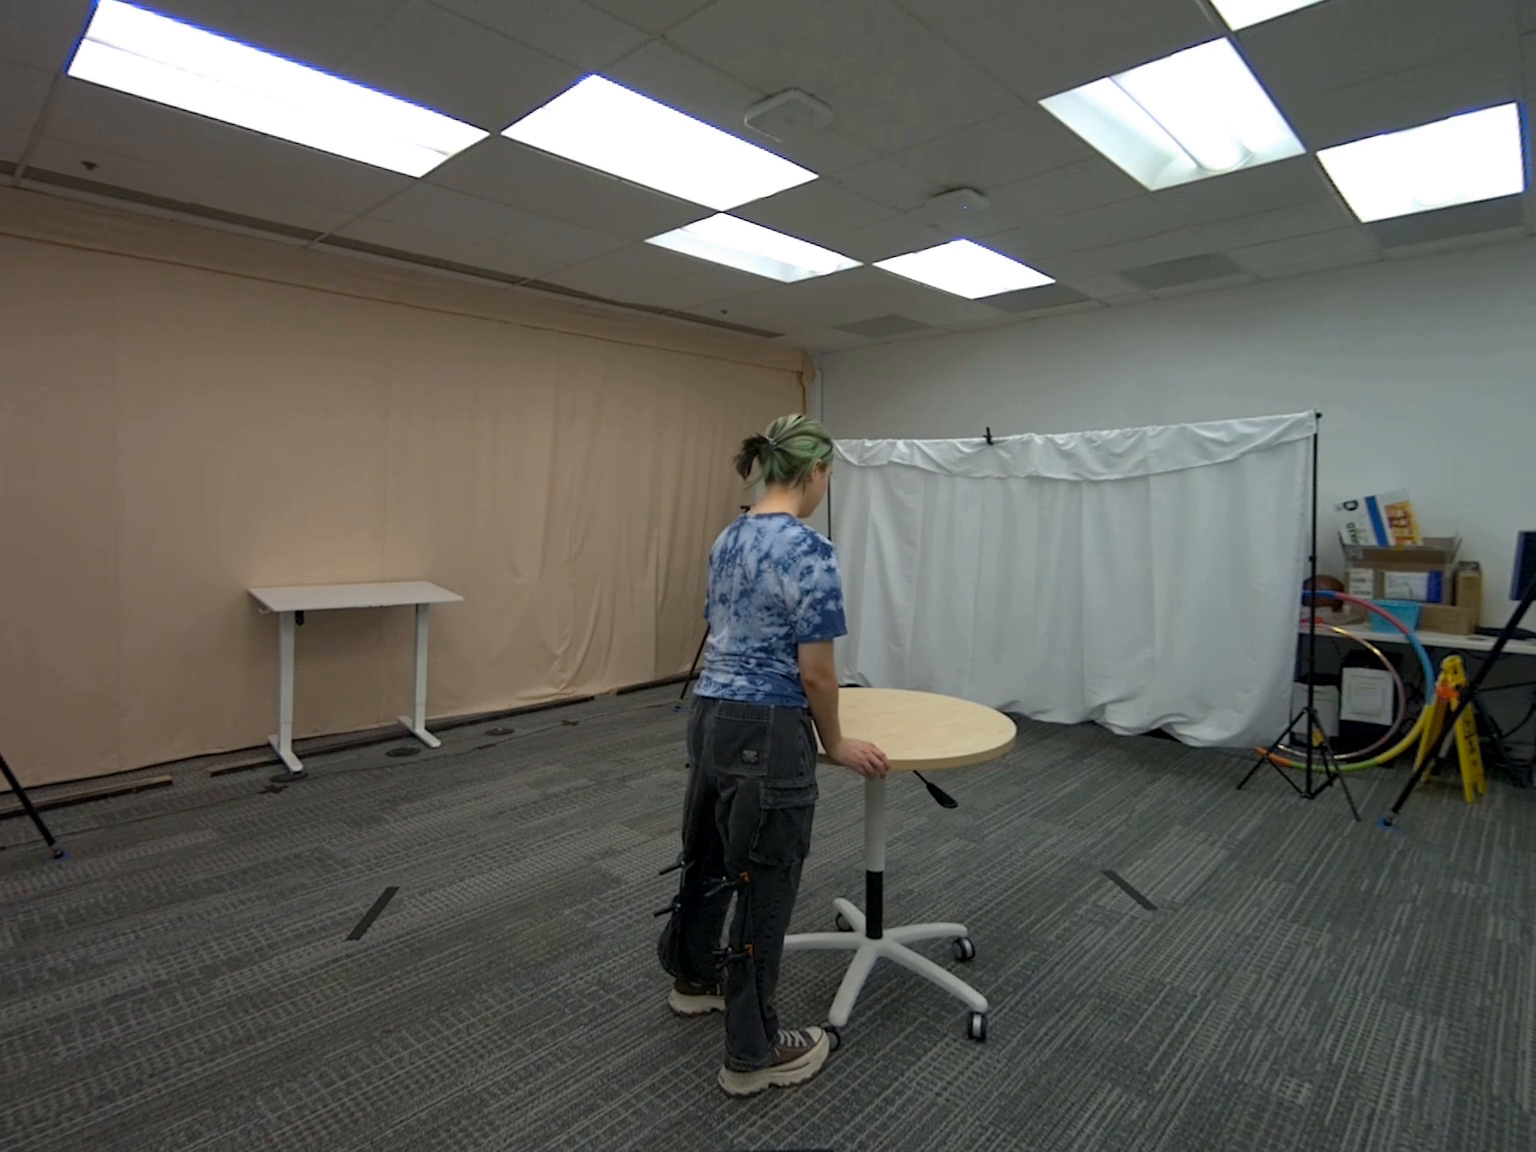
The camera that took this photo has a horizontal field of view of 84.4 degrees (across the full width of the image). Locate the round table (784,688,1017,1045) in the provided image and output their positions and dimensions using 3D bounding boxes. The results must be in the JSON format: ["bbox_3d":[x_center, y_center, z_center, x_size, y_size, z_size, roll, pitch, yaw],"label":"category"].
[{"bbox_3d":[0.322,0.803,2.434,0.763,0.792,0.767,0,4,-2],"label":"round table"}]
